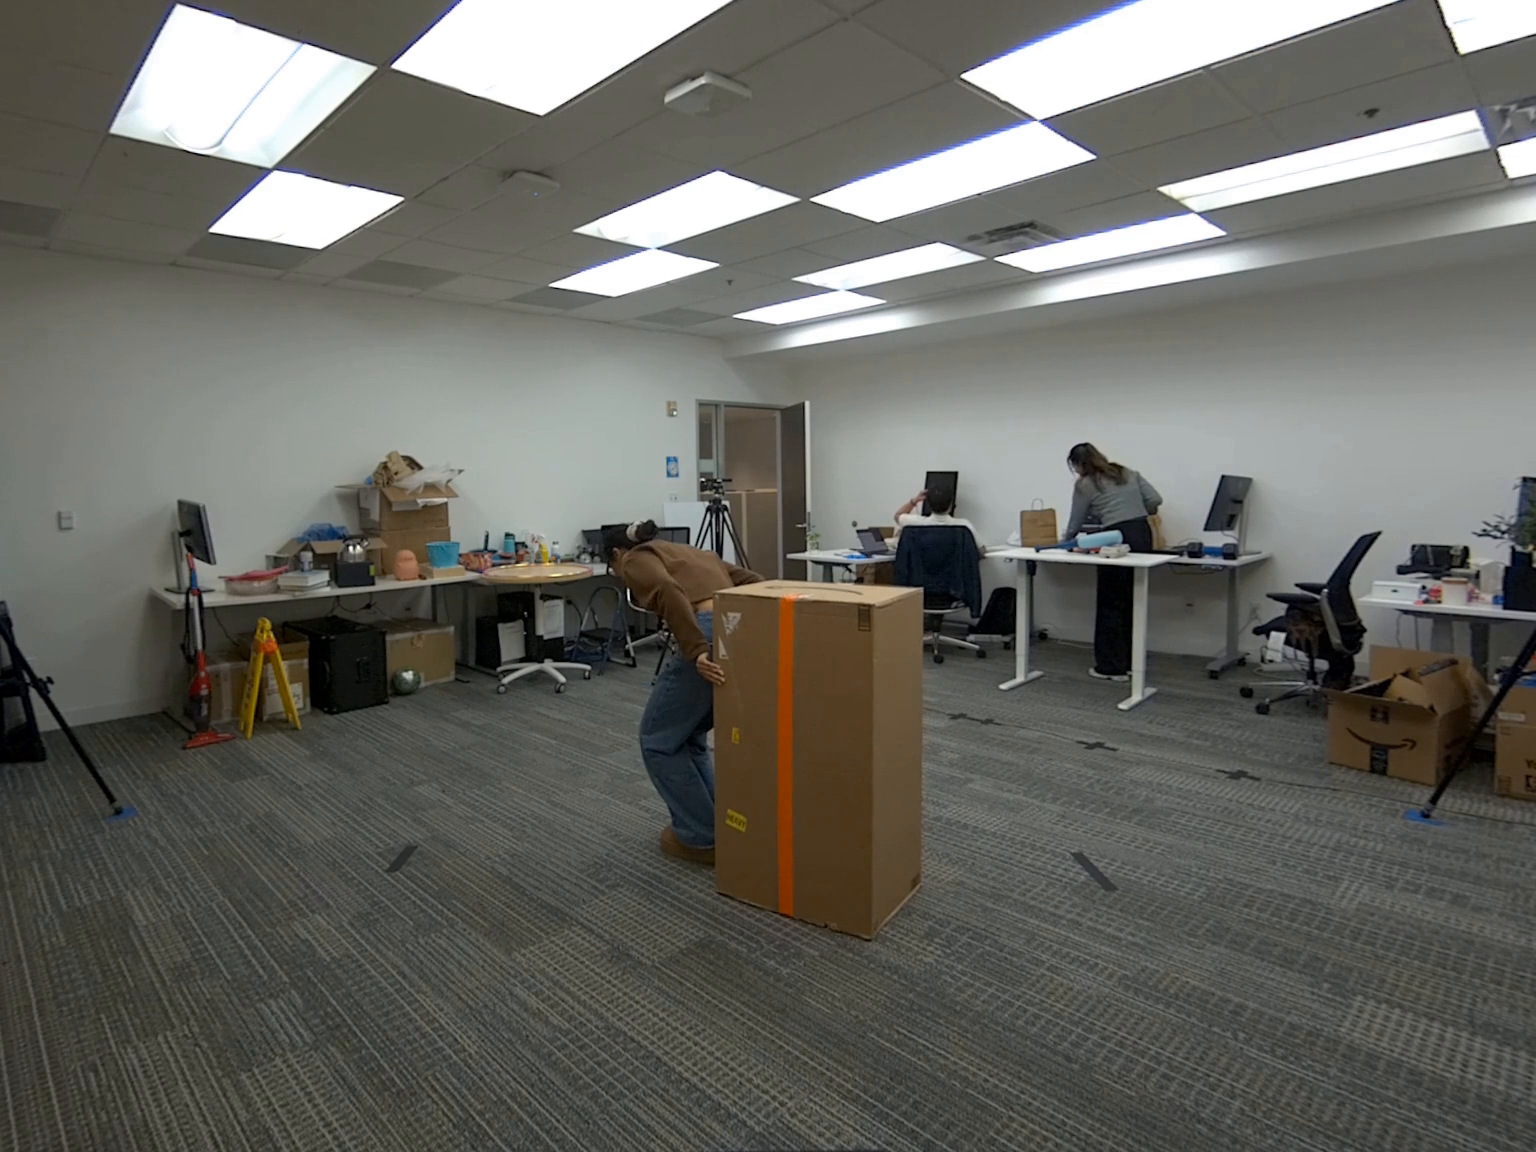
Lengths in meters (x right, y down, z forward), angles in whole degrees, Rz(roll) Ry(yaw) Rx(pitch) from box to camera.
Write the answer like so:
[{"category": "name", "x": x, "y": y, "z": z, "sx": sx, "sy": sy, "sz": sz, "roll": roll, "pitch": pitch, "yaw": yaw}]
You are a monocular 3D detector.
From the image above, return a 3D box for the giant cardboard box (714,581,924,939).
[{"category": "giant cardboard box", "x": 0.173, "y": 0.562, "z": 2.861, "sx": 0.600, "sy": 1.024, "sz": 0.436, "roll": 2, "pitch": 4, "yaw": 32}]
